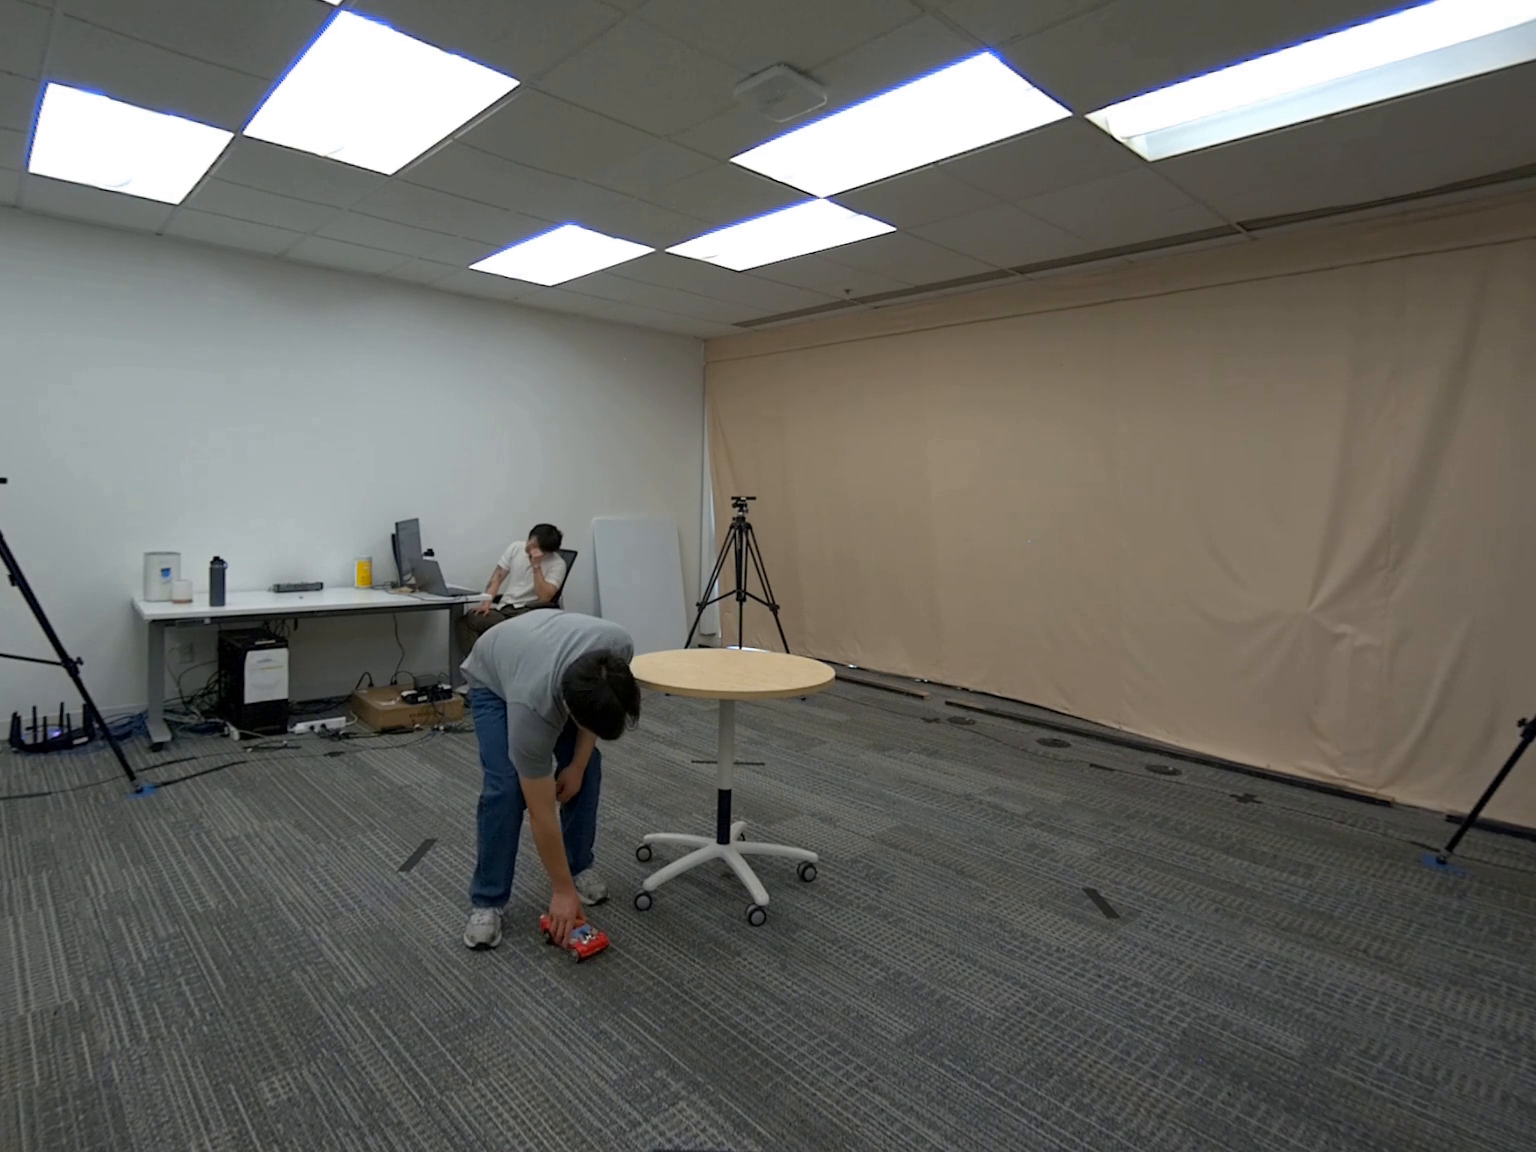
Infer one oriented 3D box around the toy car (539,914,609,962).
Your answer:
[{"bbox_3d":[-0.616,1.111,2.595,0.262,0.082,0.127,17,16,41],"label":"toy car"}]
